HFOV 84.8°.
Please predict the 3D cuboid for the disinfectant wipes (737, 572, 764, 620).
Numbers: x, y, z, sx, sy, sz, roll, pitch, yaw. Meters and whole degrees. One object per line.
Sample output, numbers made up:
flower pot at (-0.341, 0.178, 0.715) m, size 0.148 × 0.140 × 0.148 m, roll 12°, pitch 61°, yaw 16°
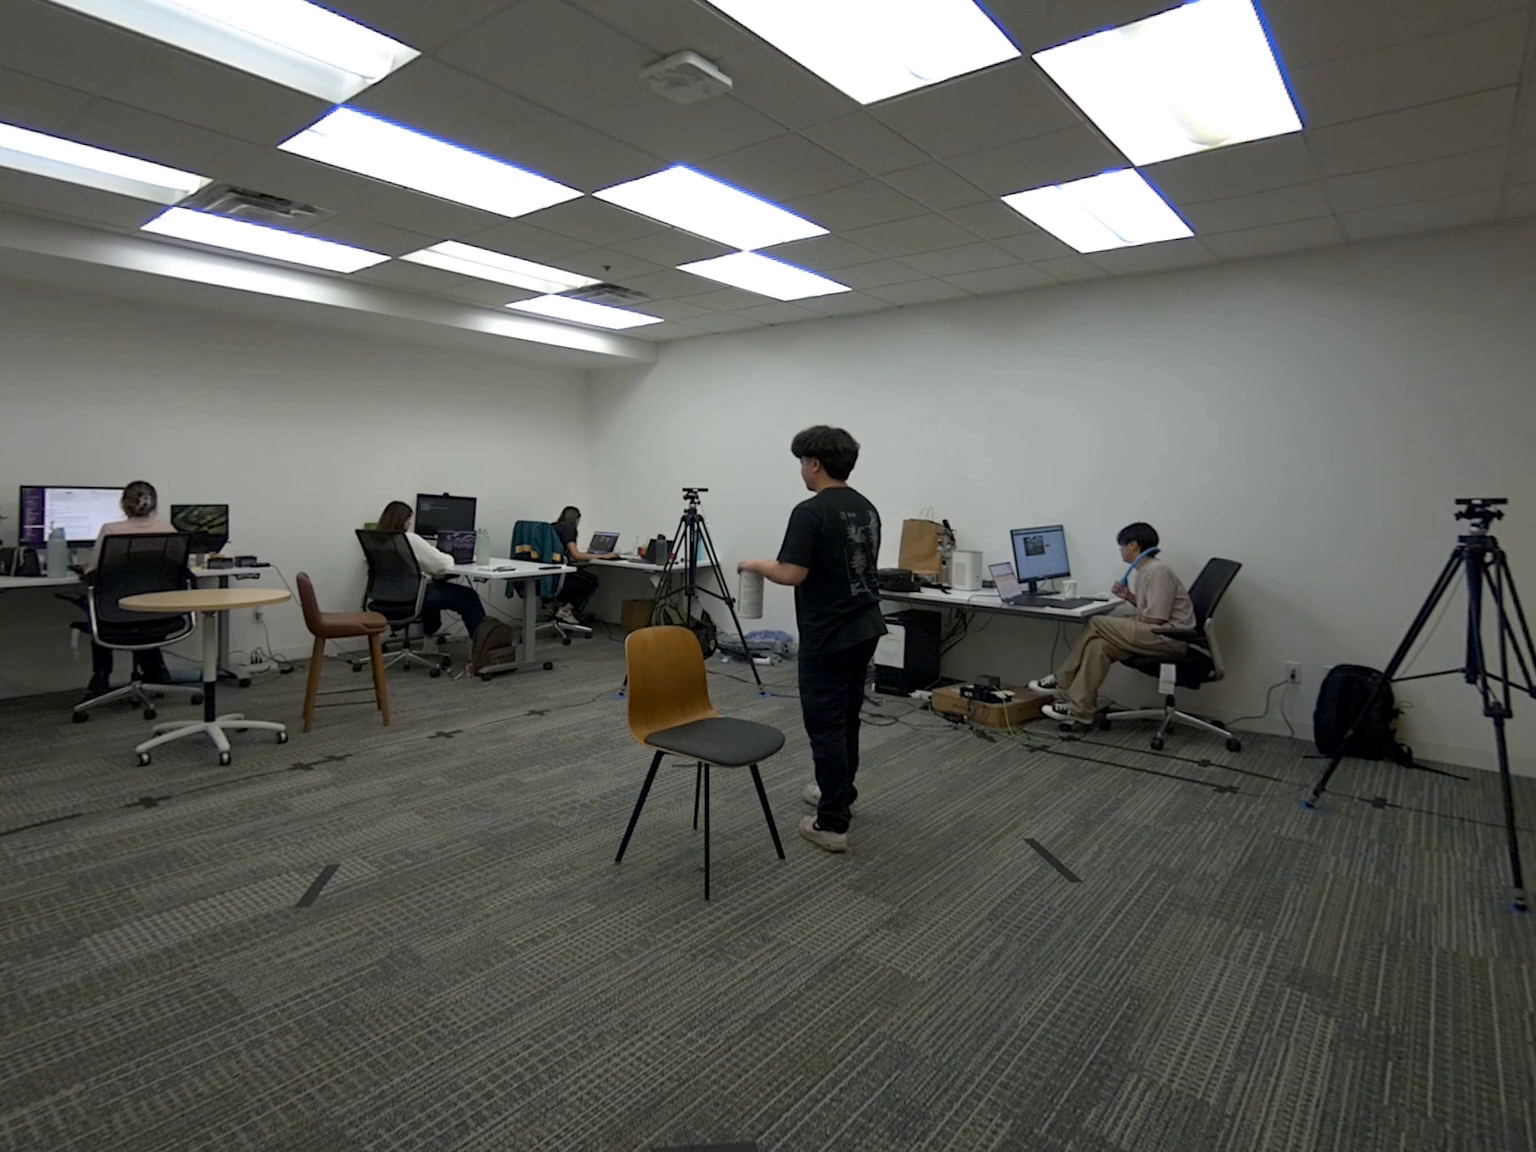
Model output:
disinfectant wipes at (-0.082, 0.066, 3.653) m, size 0.117 × 0.217 × 0.118 m, roll 4°, pitch 4°, yaw -2°
